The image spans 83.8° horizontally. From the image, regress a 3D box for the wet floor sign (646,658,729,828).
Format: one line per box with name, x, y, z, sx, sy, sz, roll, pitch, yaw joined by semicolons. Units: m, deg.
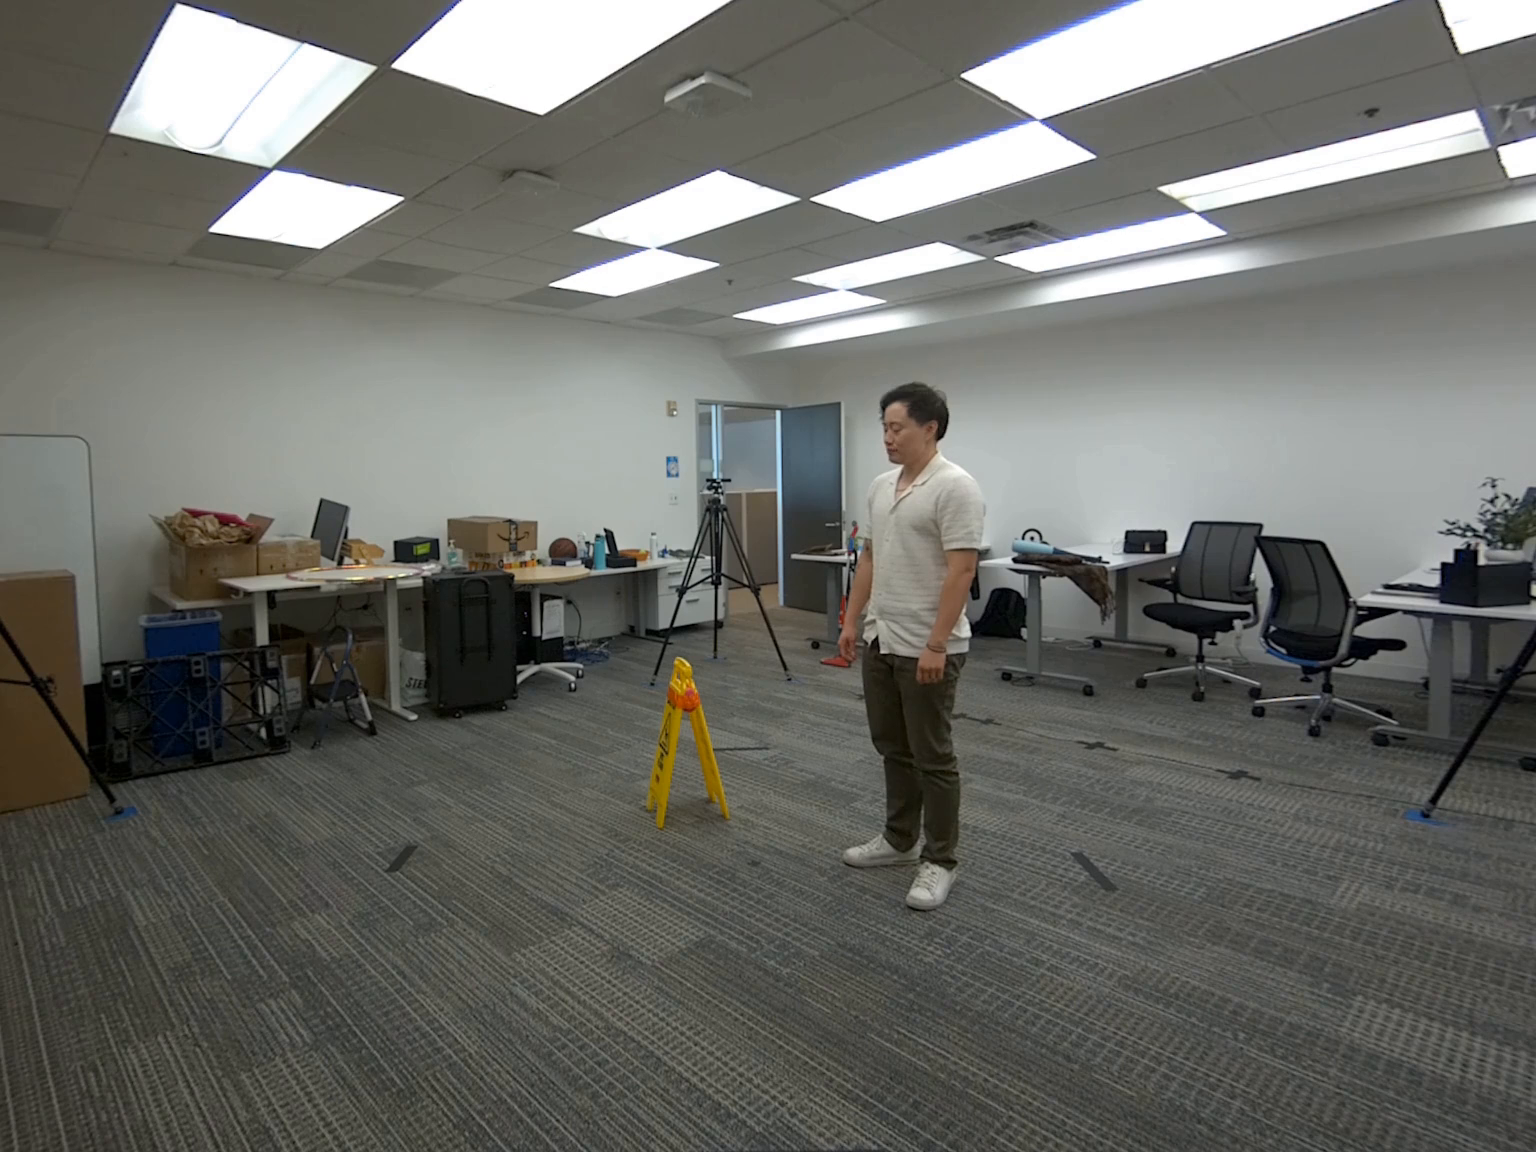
wet floor sign;-0.351;0.673;3.572;0.285;0.644;0.287;-3;3;-18
